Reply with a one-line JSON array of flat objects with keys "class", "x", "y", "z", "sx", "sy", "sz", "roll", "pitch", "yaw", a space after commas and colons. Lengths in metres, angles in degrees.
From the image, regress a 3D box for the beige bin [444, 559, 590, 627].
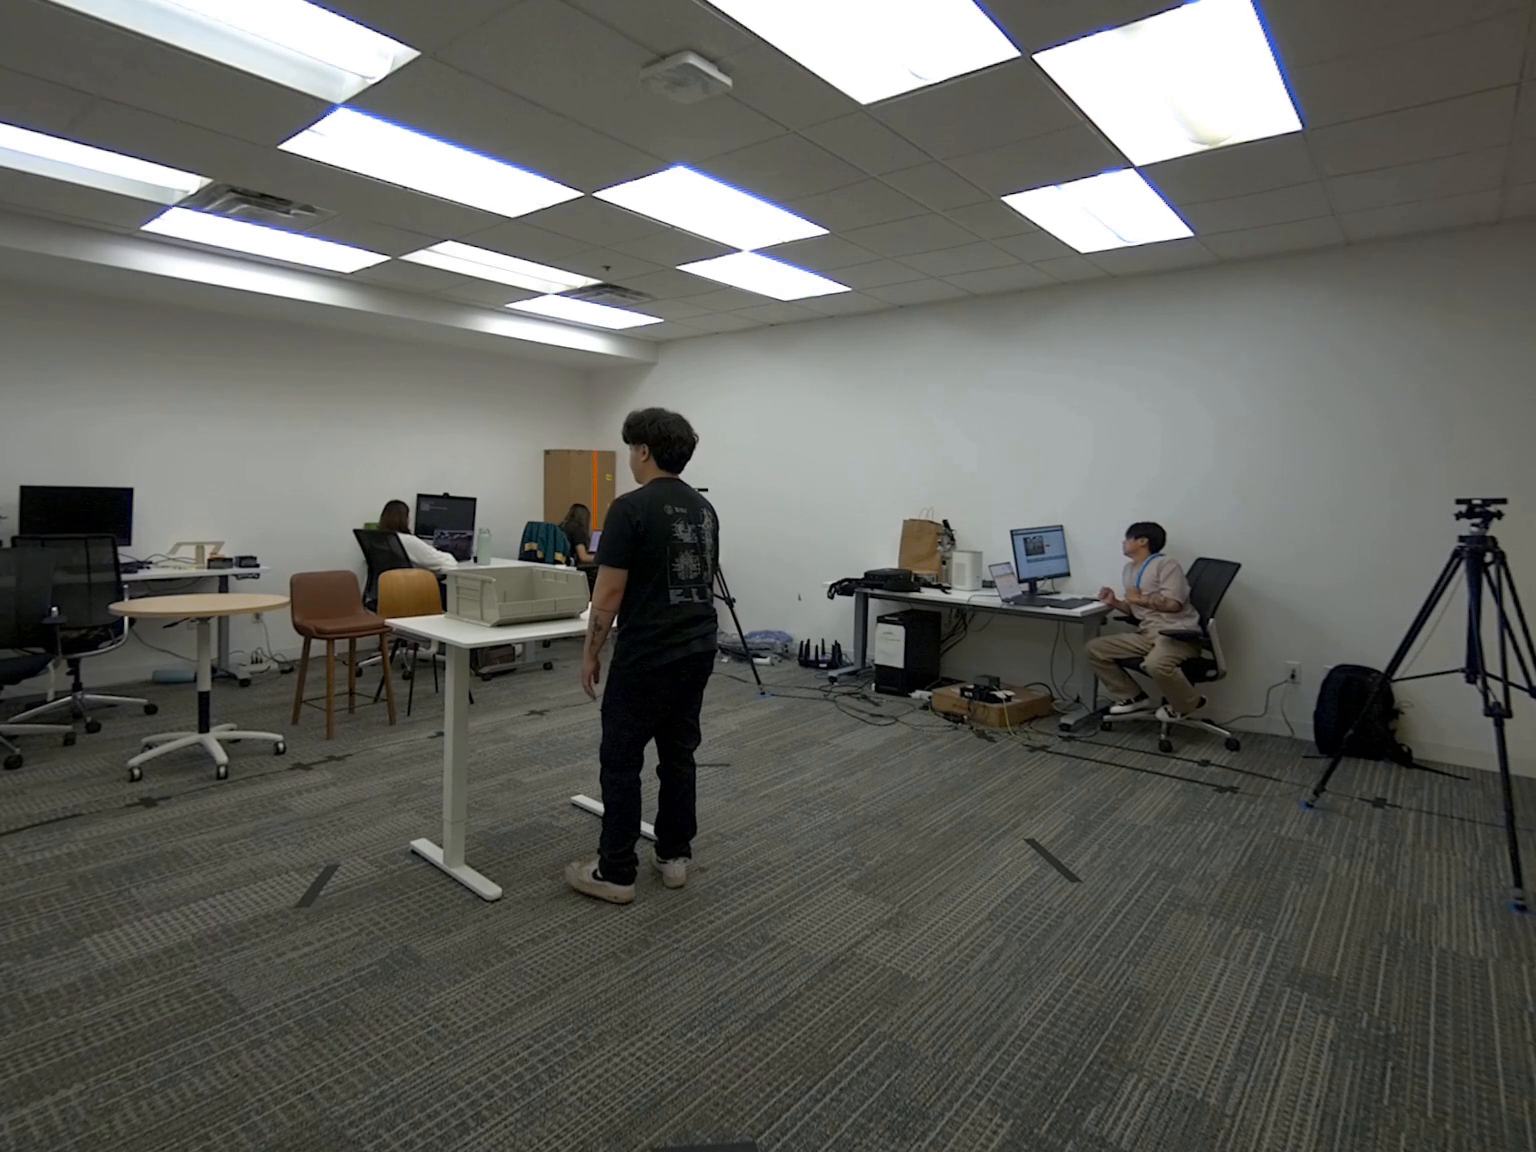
[{"class": "beige bin", "x": -0.969, "y": 0.072, "z": 3.258, "sx": 0.390, "sy": 0.188, "sz": 0.410, "roll": 5, "pitch": 6, "yaw": 41}]
